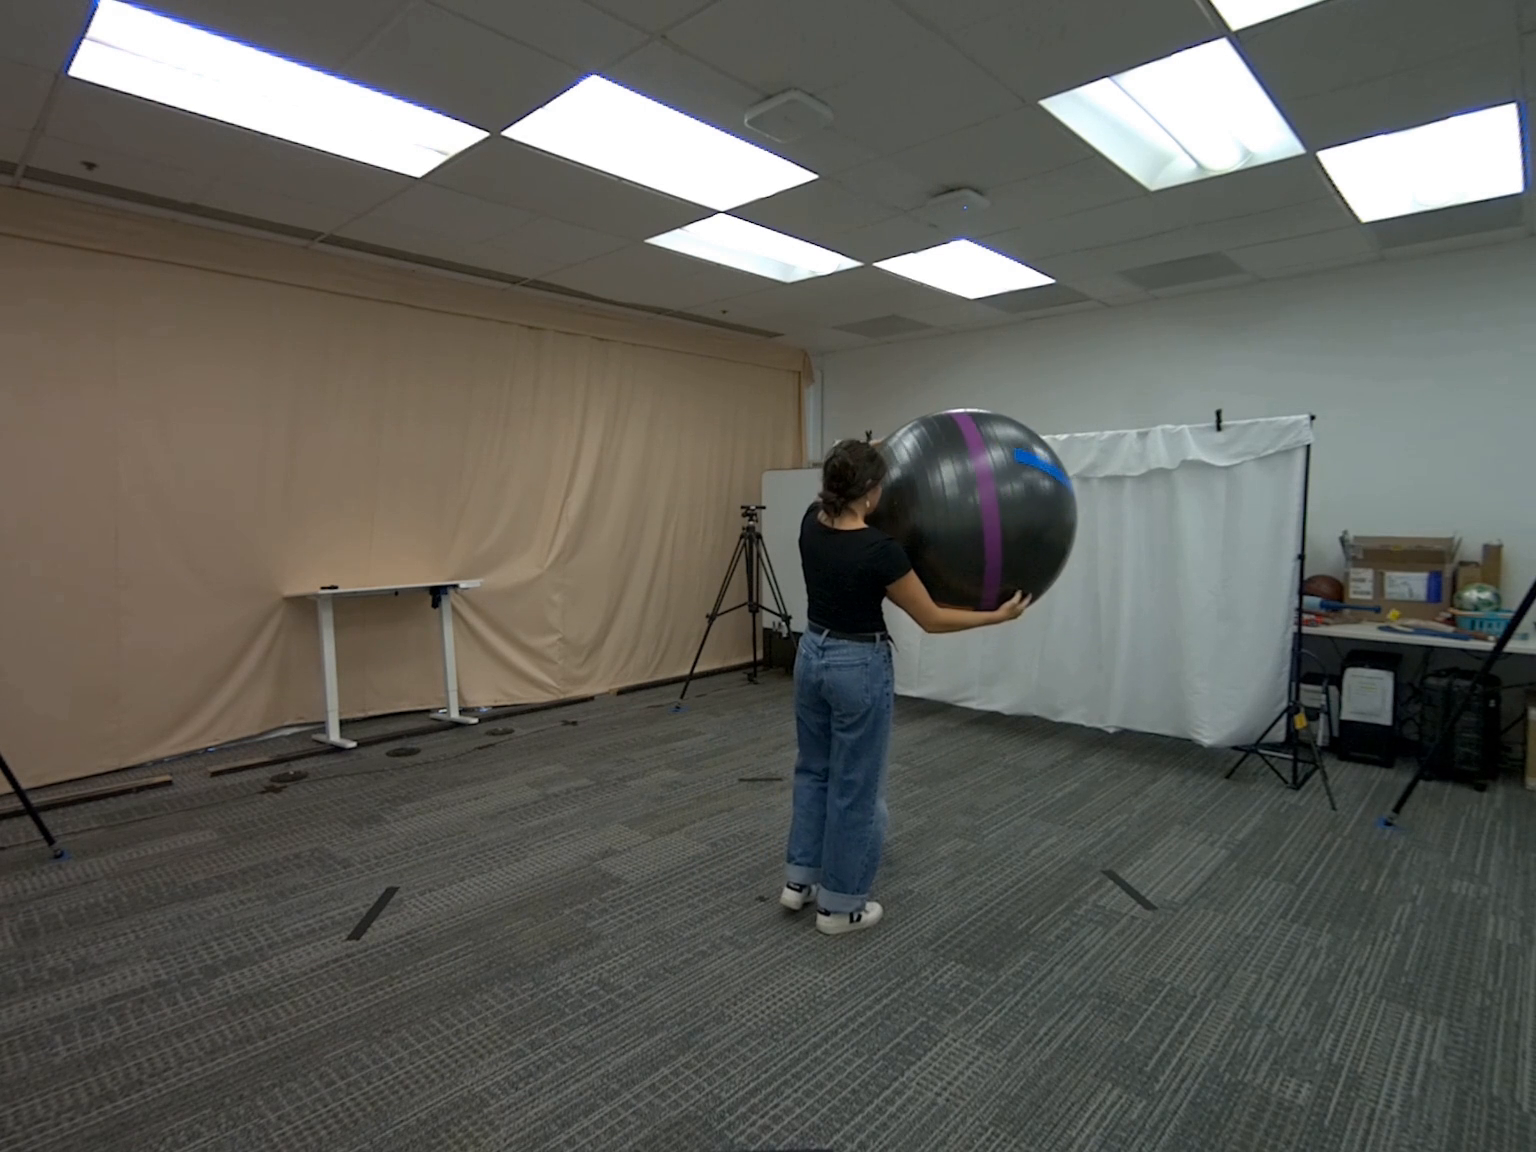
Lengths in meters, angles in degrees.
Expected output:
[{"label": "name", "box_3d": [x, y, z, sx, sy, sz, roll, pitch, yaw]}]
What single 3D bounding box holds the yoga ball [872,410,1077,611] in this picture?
[{"label": "yoga ball", "box_3d": [0.686, -0.199, 2.960, 0.757, 0.756, 0.760, 0, 4, -2]}]
